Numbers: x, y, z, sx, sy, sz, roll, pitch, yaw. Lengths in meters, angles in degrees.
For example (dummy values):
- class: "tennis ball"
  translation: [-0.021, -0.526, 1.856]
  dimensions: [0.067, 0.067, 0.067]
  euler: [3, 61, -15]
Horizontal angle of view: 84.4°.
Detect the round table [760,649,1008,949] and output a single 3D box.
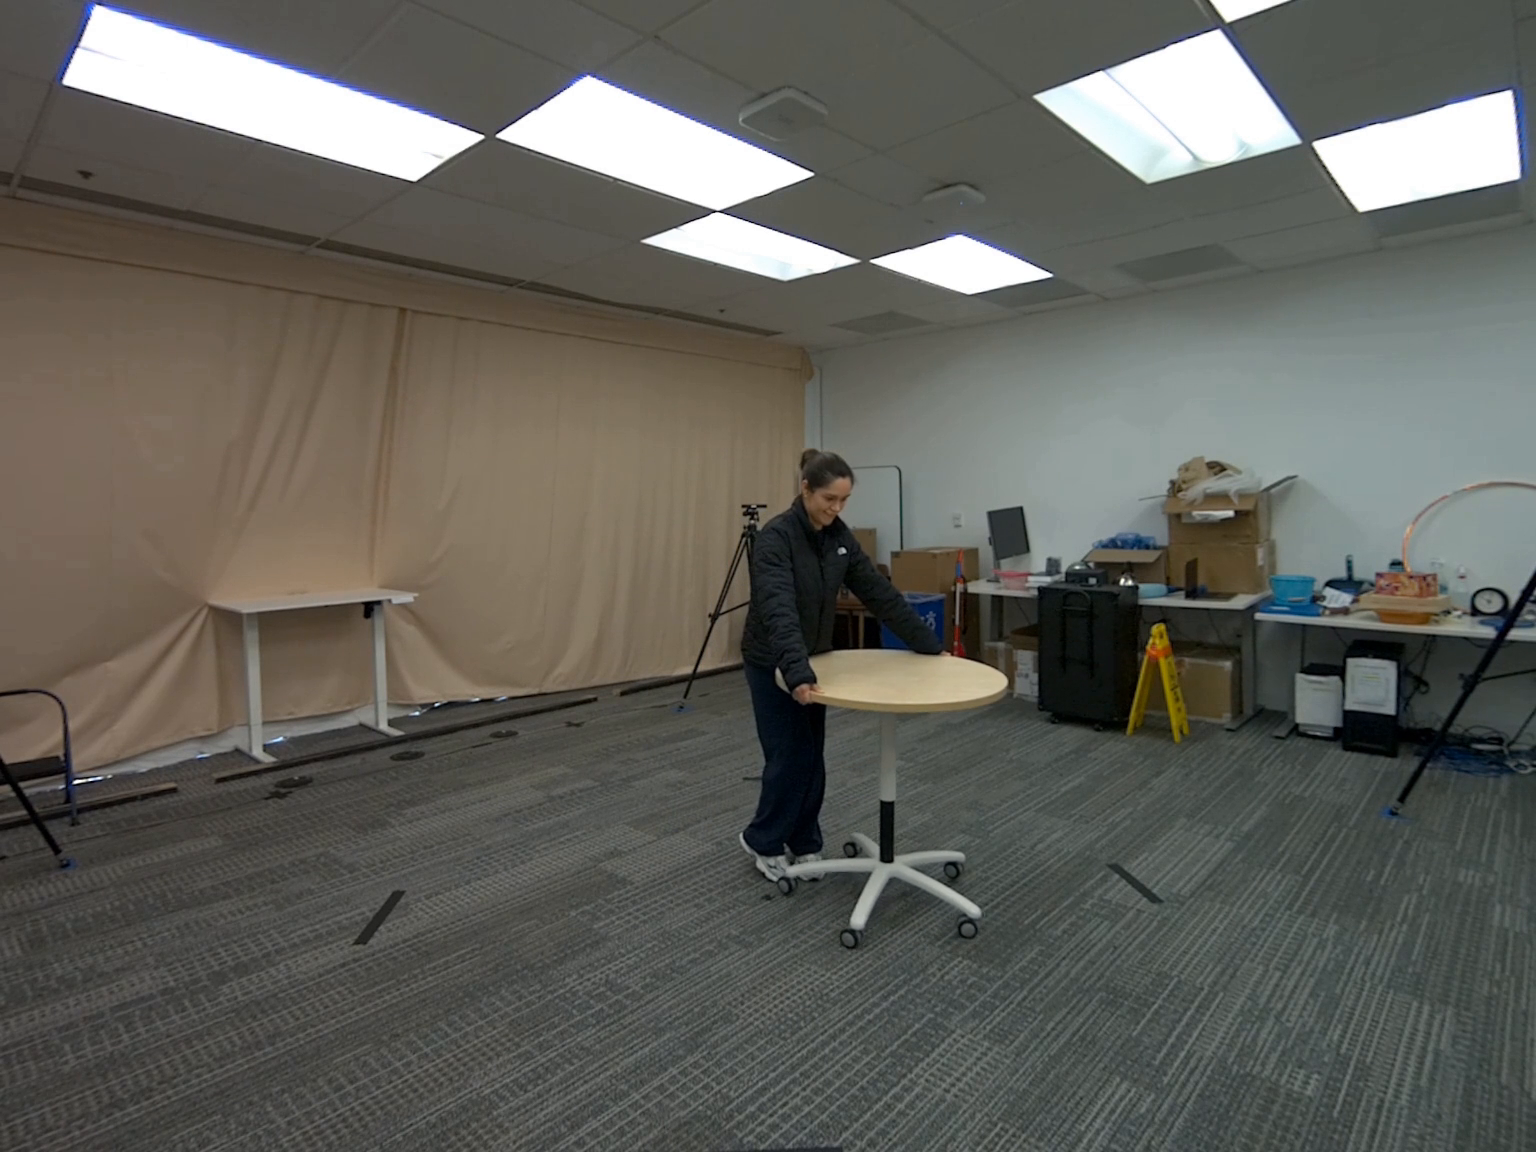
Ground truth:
- class: "round table"
  translation: [0.419, 0.727, 2.896]
  dimensions: [0.784, 0.784, 0.789]
  euler: [0, 6, -2]
